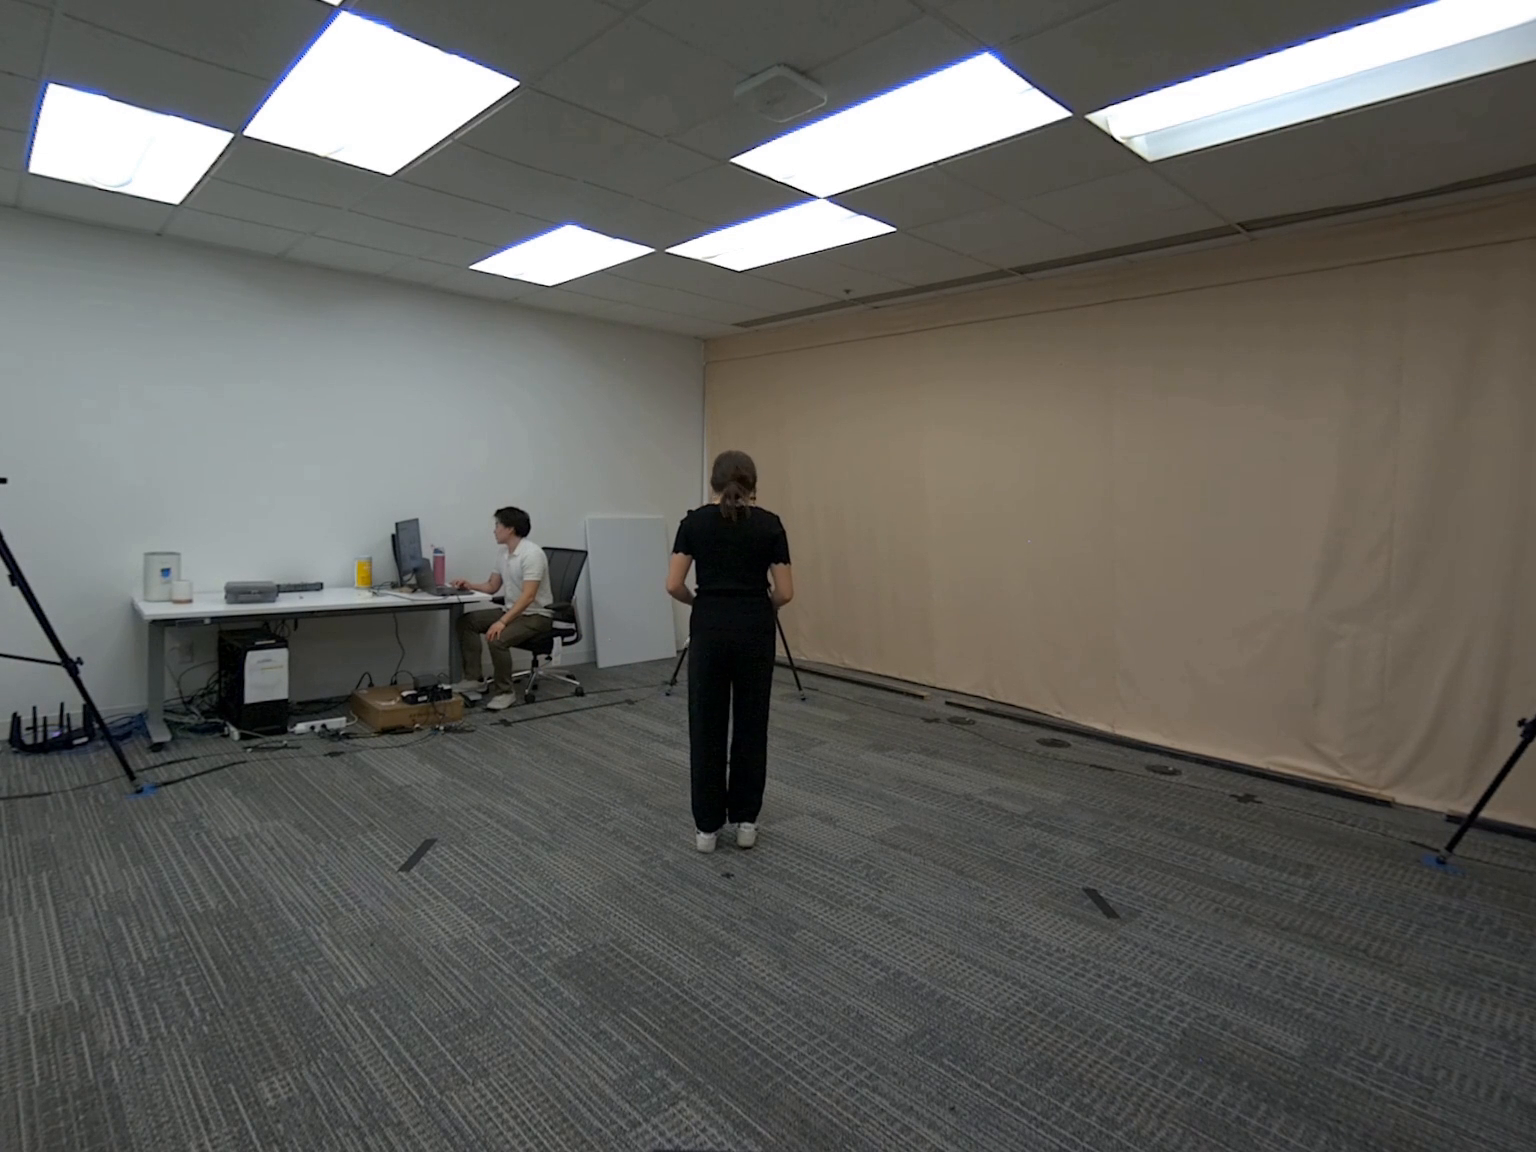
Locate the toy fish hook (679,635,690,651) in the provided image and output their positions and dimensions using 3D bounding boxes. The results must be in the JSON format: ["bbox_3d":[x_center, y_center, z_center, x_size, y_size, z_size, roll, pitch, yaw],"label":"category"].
[{"bbox_3d":[-0.302,0.206,3.699,0.048,0.225,0.502,25,-14,3],"label":"toy fish hook"}]
